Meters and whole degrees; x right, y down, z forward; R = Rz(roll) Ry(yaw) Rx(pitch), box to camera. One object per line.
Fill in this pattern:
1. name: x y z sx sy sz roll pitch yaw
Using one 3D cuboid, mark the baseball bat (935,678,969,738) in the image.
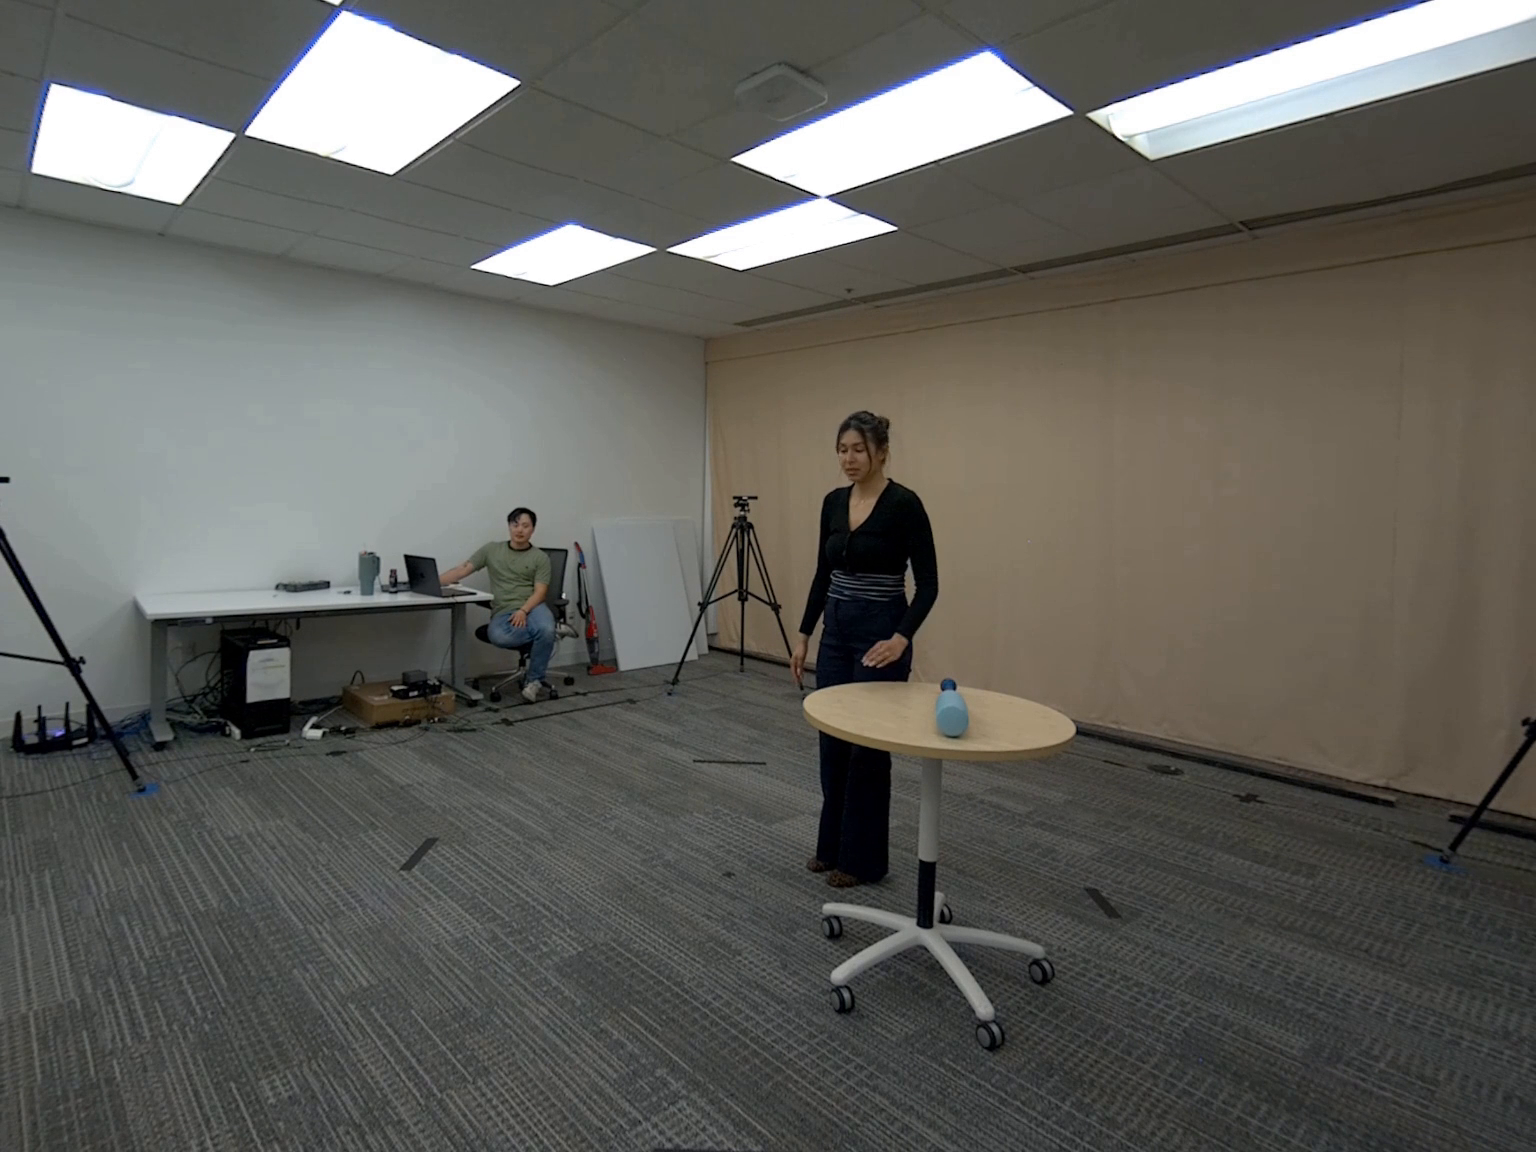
1. baseball bat: 0.518 0.363 2.419 0.090 0.089 0.539 2 4 9
